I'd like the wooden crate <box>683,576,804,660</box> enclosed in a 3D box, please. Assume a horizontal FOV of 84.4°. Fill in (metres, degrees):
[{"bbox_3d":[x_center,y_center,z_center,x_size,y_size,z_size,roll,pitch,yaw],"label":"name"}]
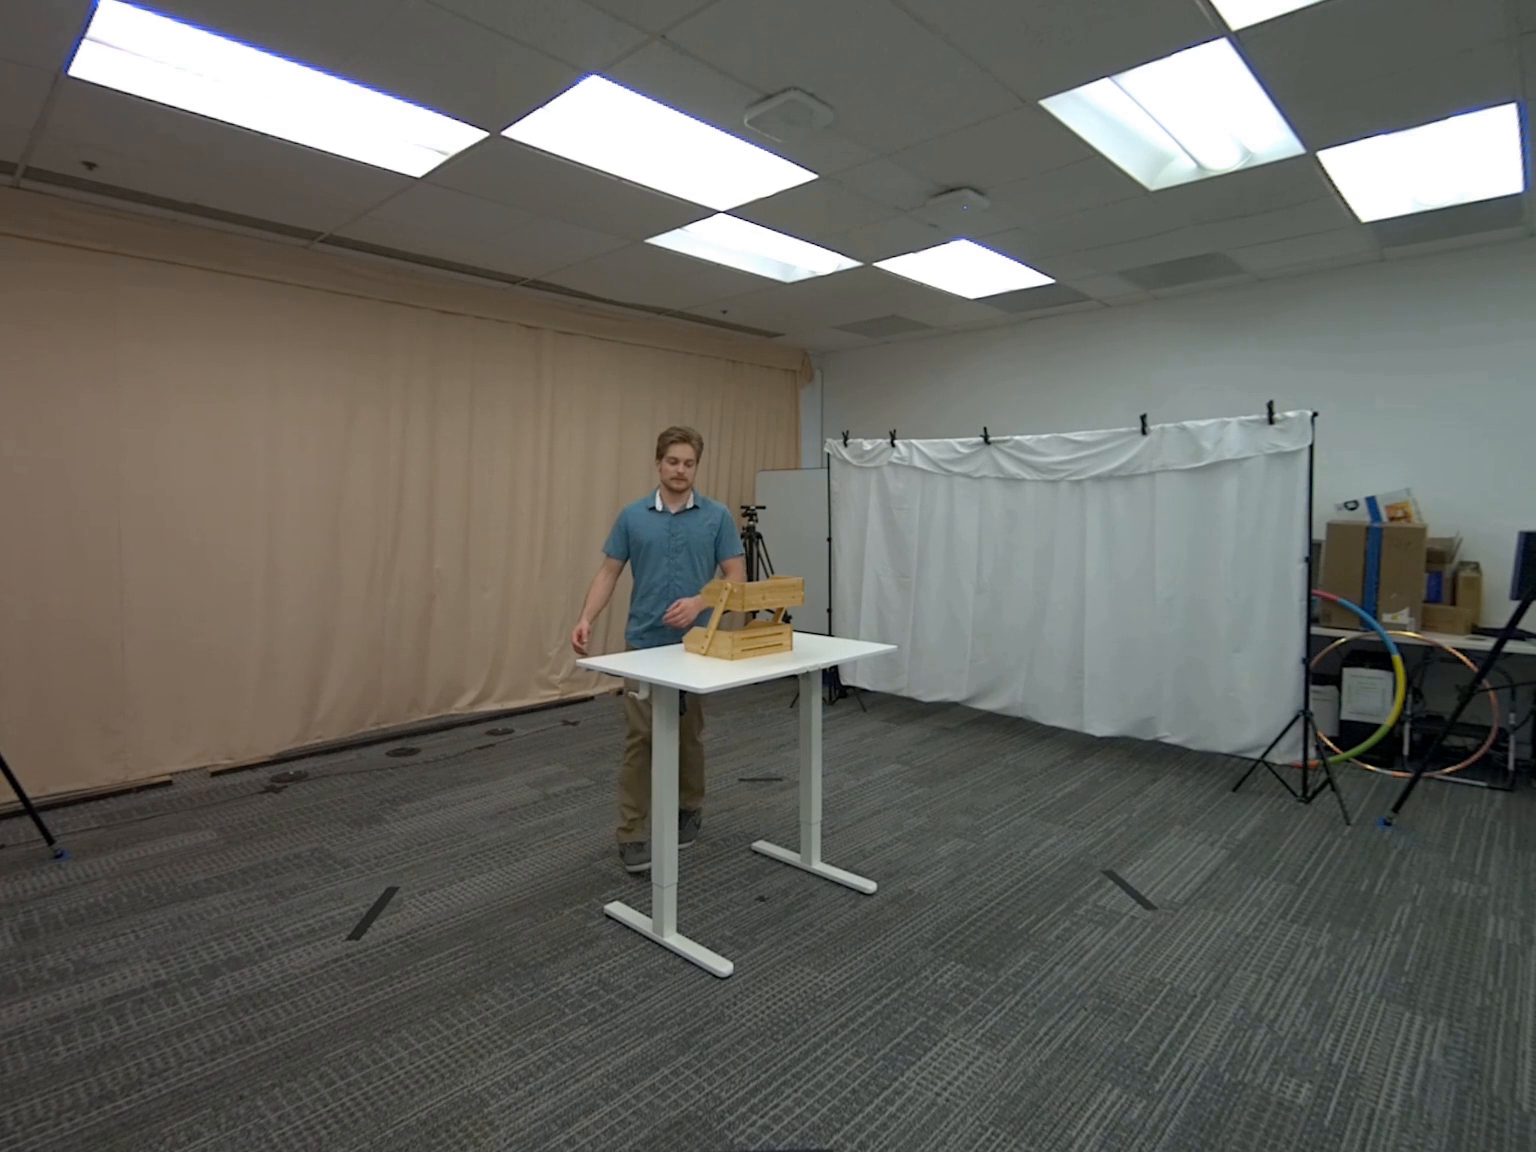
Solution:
[{"bbox_3d":[-0.084,0.133,2.935,0.314,0.272,0.312,-4,6,-44],"label":"wooden crate"}]
